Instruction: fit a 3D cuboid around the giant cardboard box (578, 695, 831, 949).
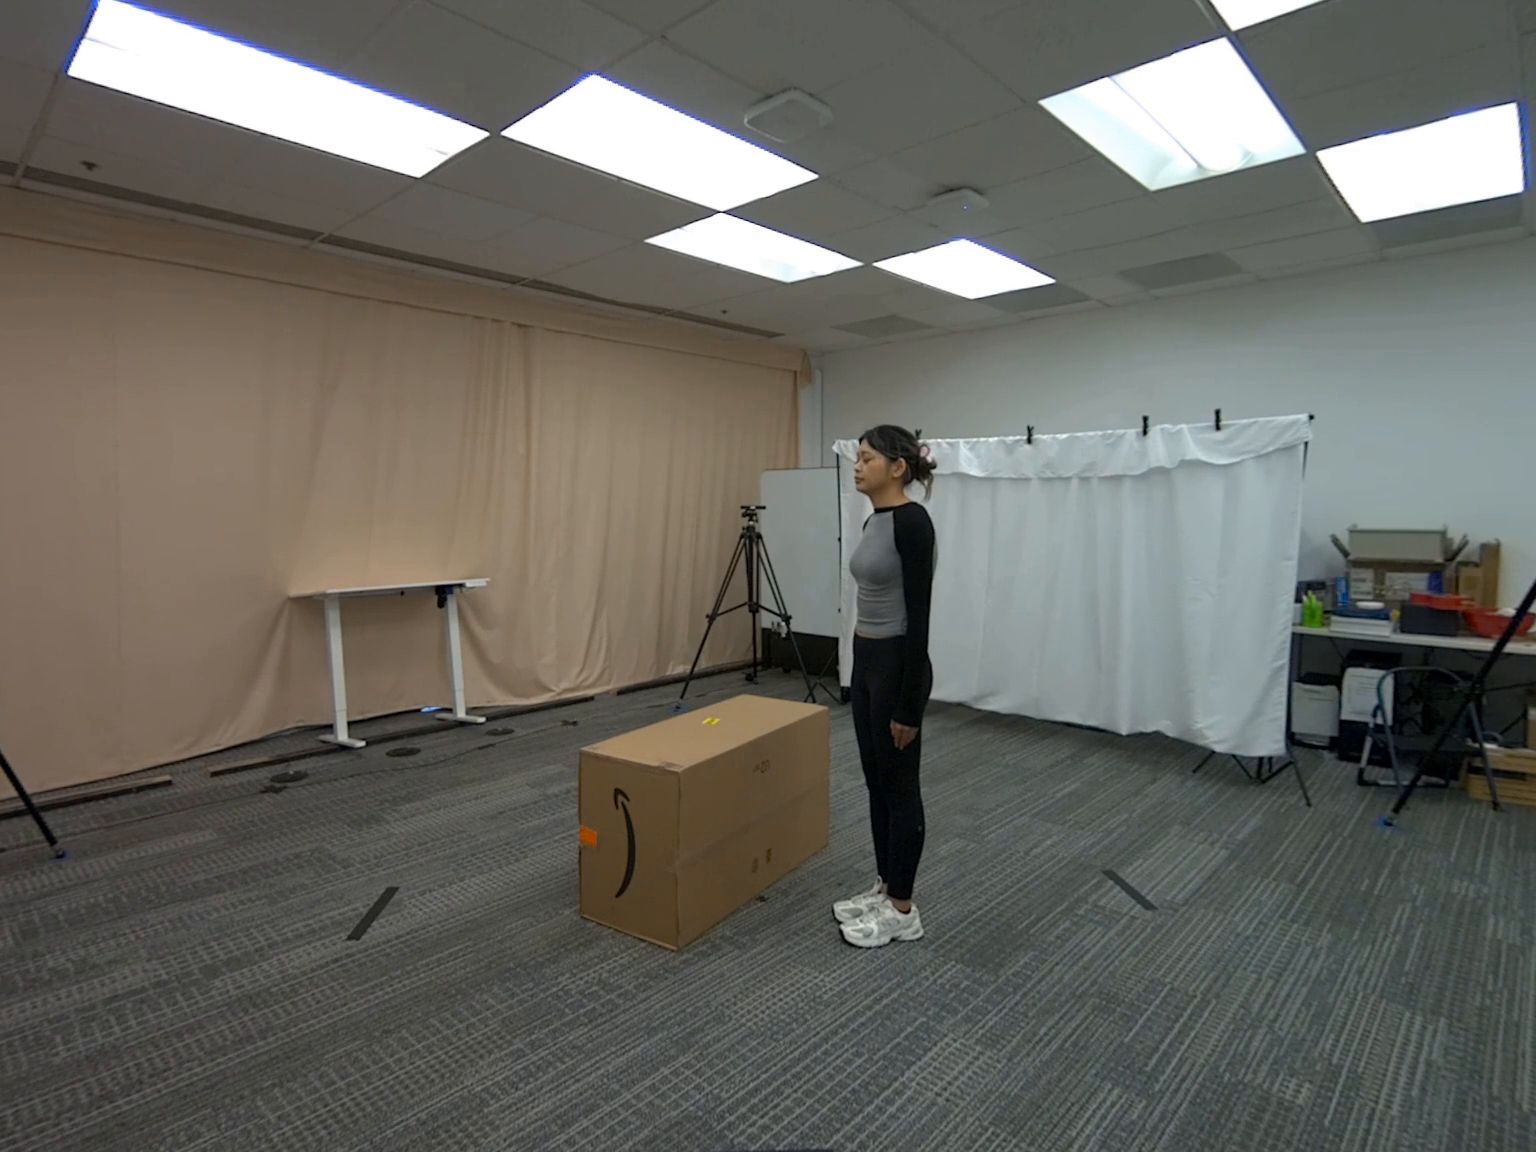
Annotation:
[{"bbox_3d":[-0.196,0.845,3.148,0.439,0.576,0.997,3,5,33],"label":"giant cardboard box"}]
